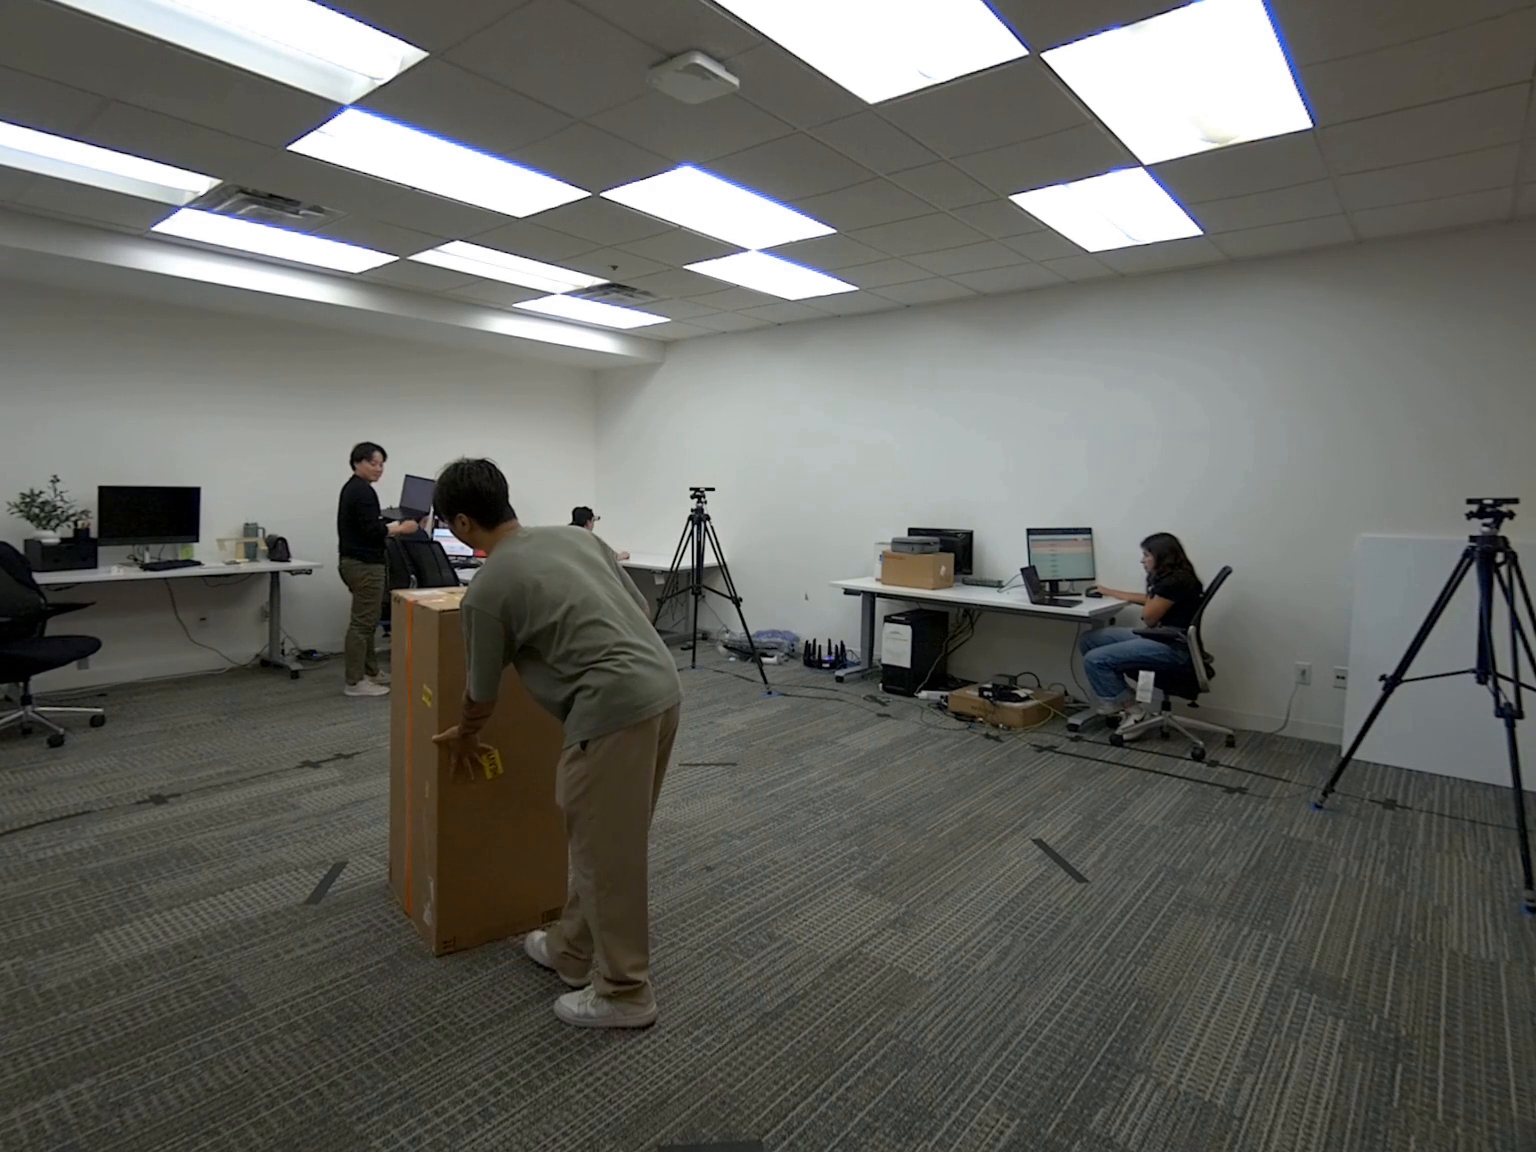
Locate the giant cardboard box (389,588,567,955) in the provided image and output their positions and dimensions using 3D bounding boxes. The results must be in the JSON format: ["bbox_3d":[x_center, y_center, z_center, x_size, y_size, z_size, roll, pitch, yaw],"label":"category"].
[{"bbox_3d":[-0.984,0.576,2.815,0.413,1.023,0.596,-1,4,-37],"label":"giant cardboard box"}]
